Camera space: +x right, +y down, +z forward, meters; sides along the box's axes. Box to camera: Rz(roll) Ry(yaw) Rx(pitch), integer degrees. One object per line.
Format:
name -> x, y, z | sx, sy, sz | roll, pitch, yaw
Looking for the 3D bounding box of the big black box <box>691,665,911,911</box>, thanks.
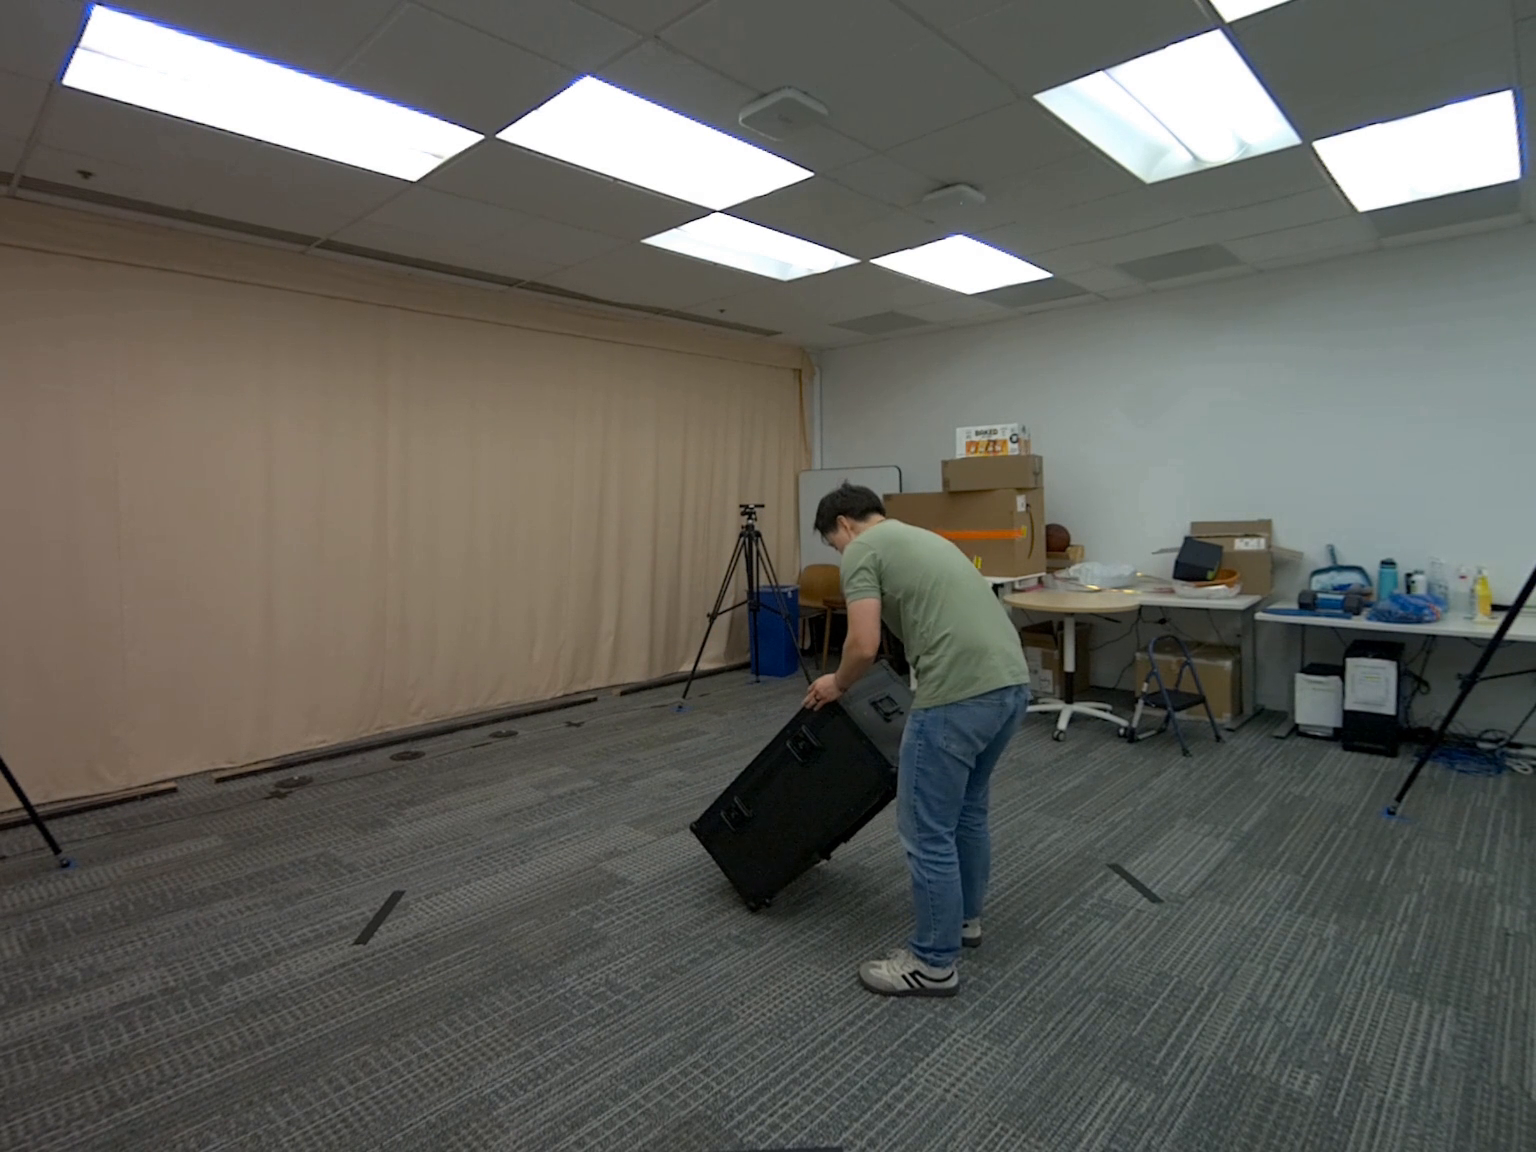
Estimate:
big black box -> 0.174, 0.752, 2.958 | 0.865, 0.405, 0.507 | -50, -21, 25
